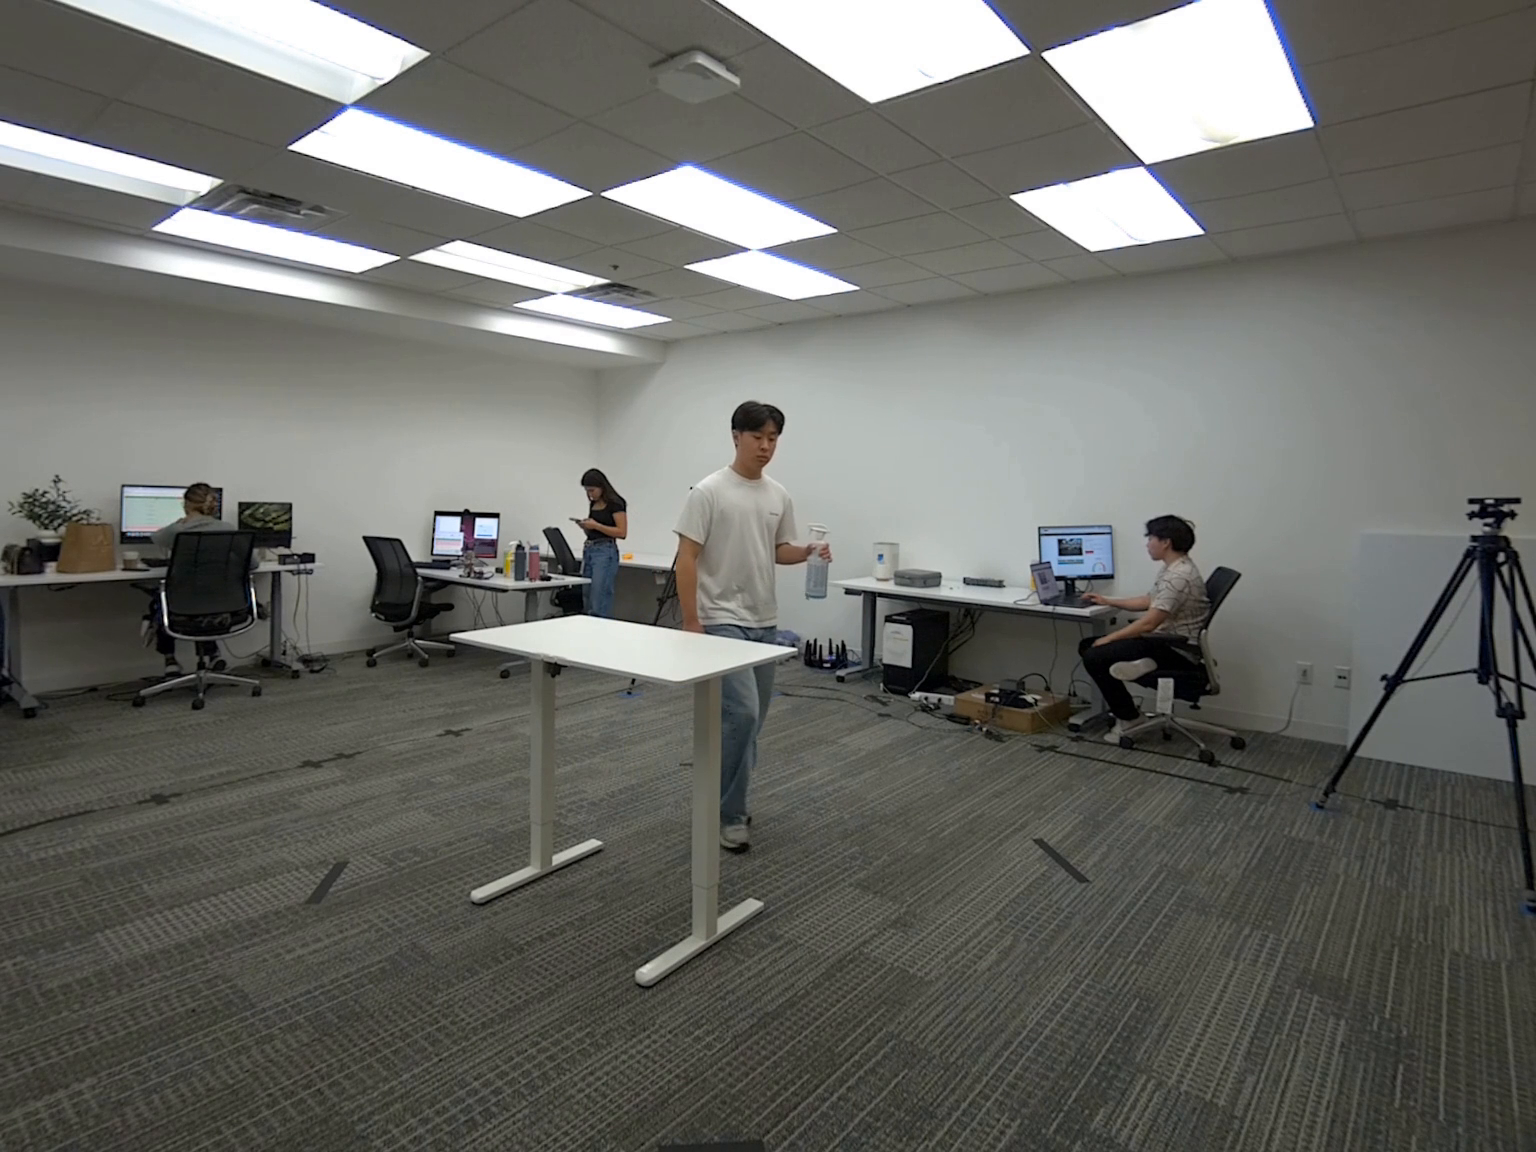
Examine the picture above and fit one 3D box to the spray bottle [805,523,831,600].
[{"bbox_3d":[0.191,-0.062,3.402,0.092,0.296,0.085,4,6,25],"label":"spray bottle"}]
